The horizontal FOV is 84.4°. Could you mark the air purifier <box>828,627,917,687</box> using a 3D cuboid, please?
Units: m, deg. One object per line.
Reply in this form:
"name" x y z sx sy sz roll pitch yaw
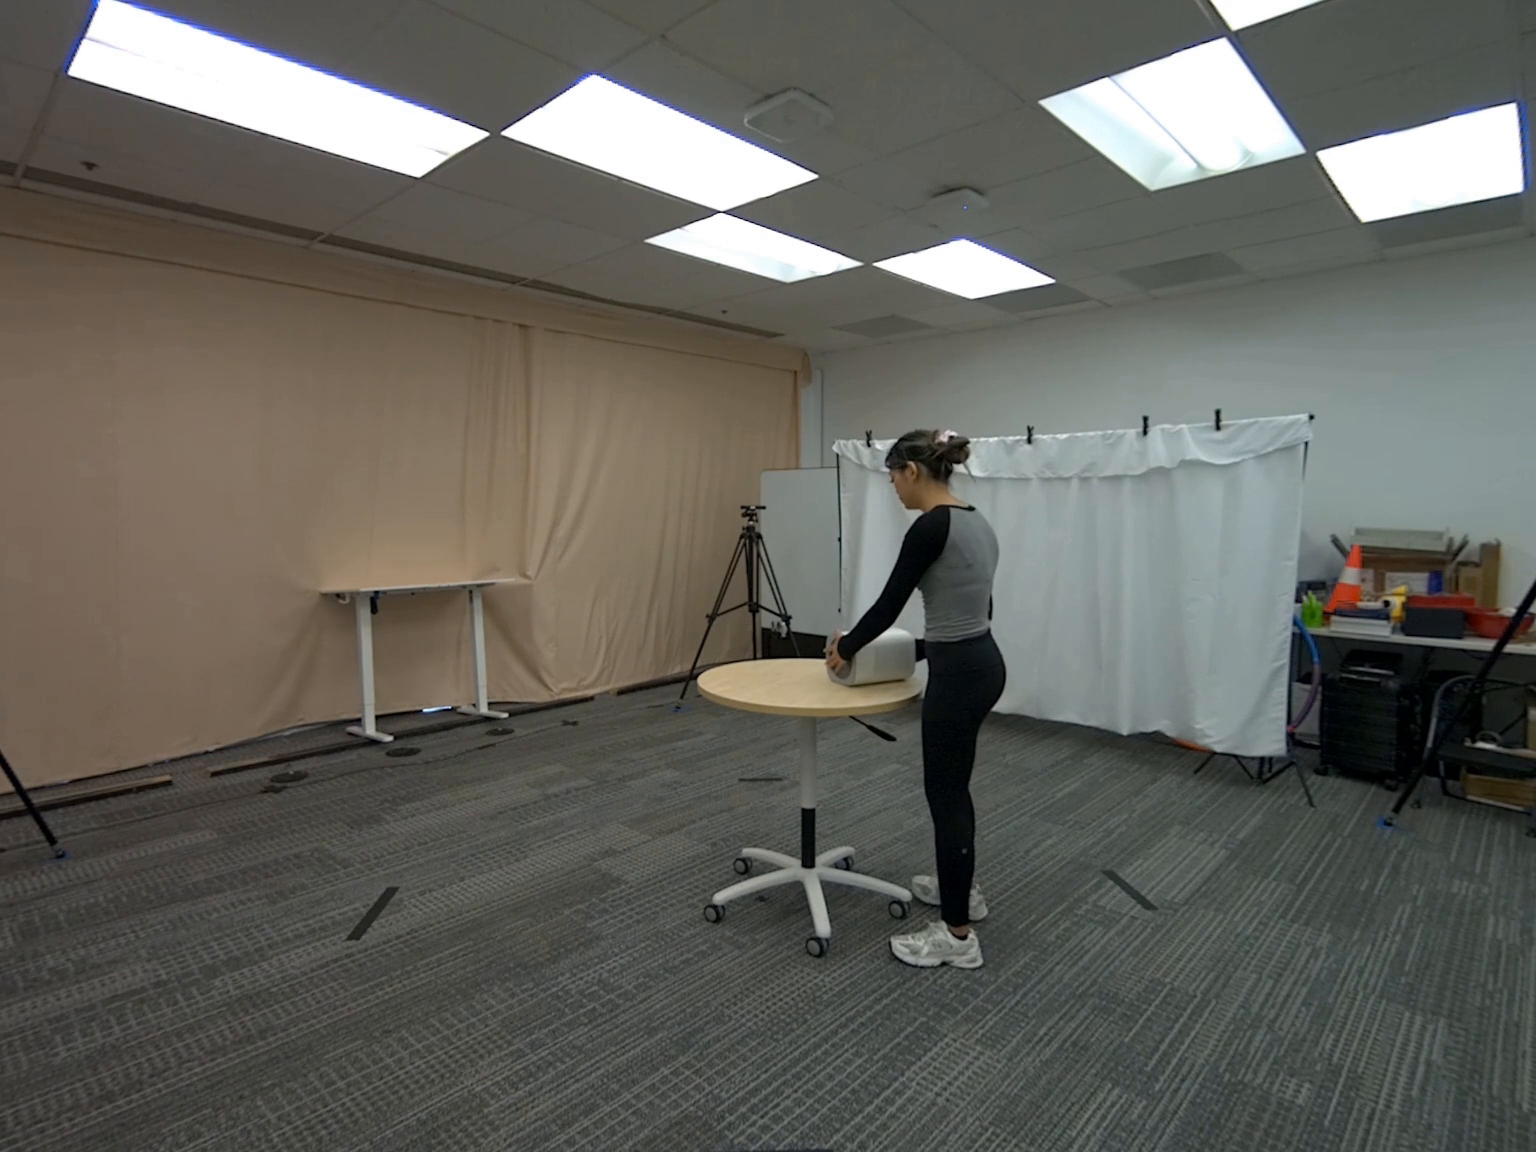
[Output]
"air purifier" 0.357 0.271 2.881 0.259 0.171 0.176 -2 6 -27
